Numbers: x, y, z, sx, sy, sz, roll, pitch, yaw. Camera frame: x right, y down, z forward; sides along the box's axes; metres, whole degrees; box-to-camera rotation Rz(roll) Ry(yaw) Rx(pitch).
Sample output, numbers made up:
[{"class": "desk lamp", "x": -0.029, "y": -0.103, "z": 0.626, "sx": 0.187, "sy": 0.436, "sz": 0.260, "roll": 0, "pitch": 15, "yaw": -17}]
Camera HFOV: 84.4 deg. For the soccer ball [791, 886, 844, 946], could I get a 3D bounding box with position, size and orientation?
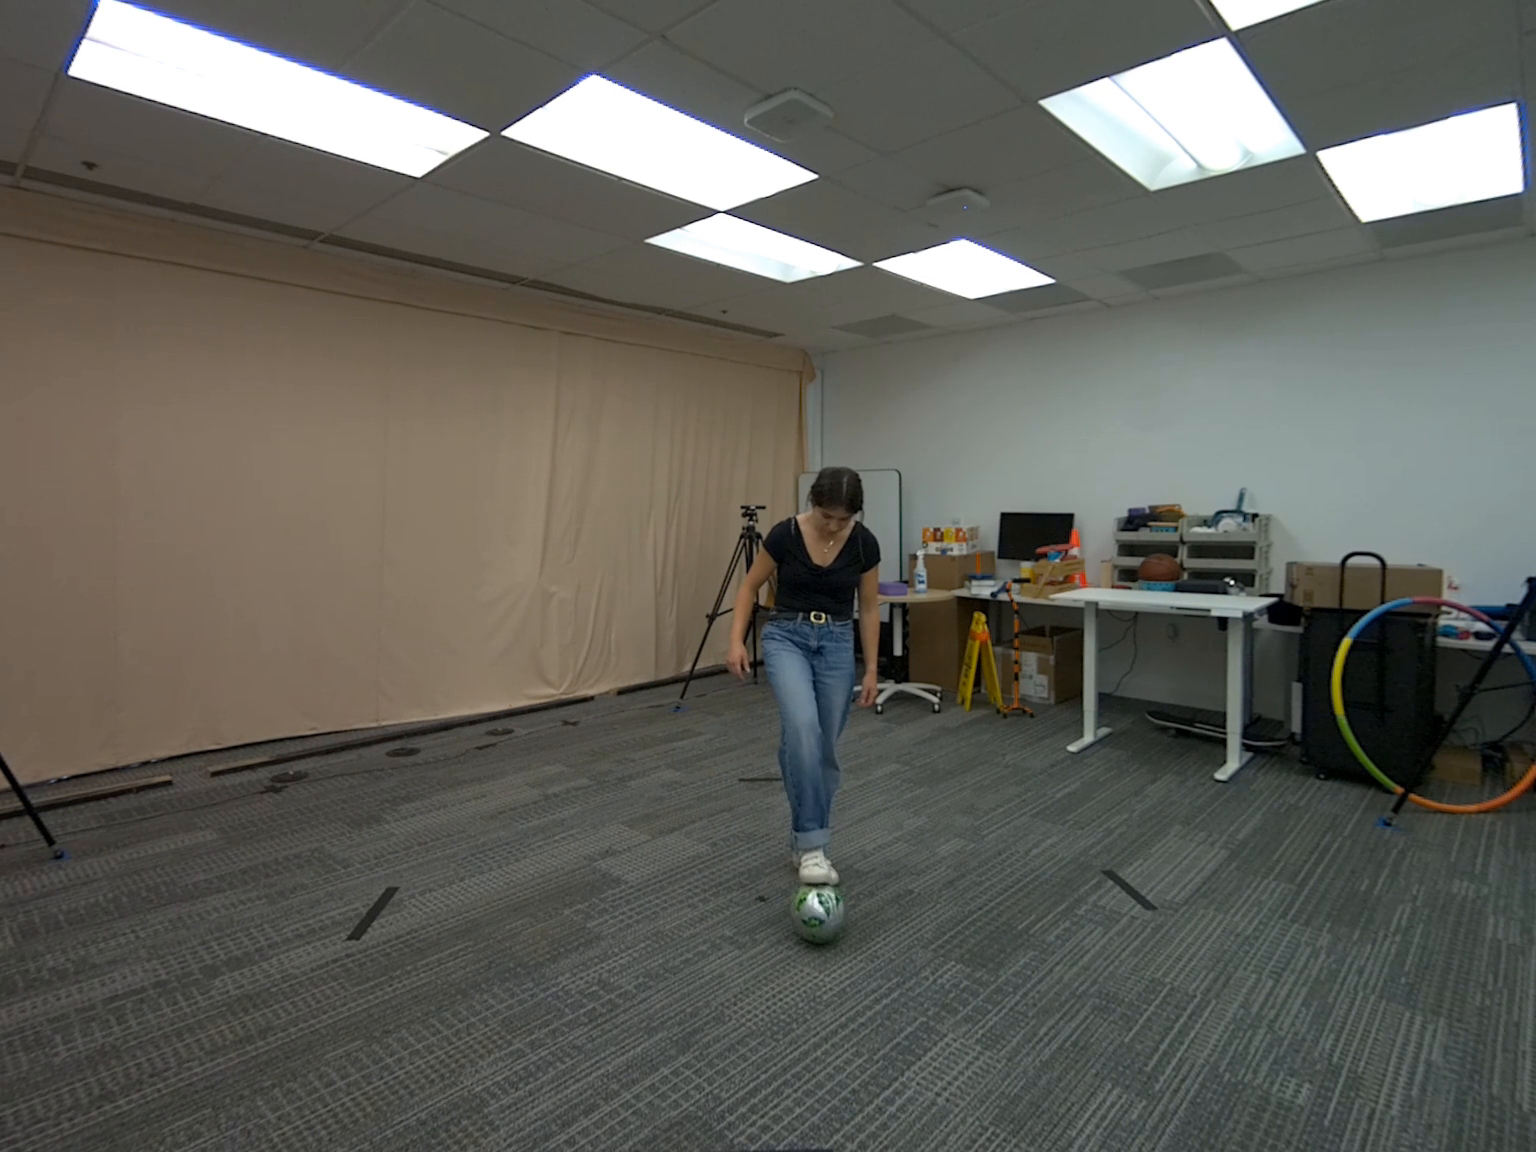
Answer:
[{"class": "soccer ball", "x": 0.147, "y": 1.070, "z": 2.713, "sx": 0.187, "sy": 0.187, "sz": 0.188, "roll": 0, "pitch": 4, "yaw": -2}]
